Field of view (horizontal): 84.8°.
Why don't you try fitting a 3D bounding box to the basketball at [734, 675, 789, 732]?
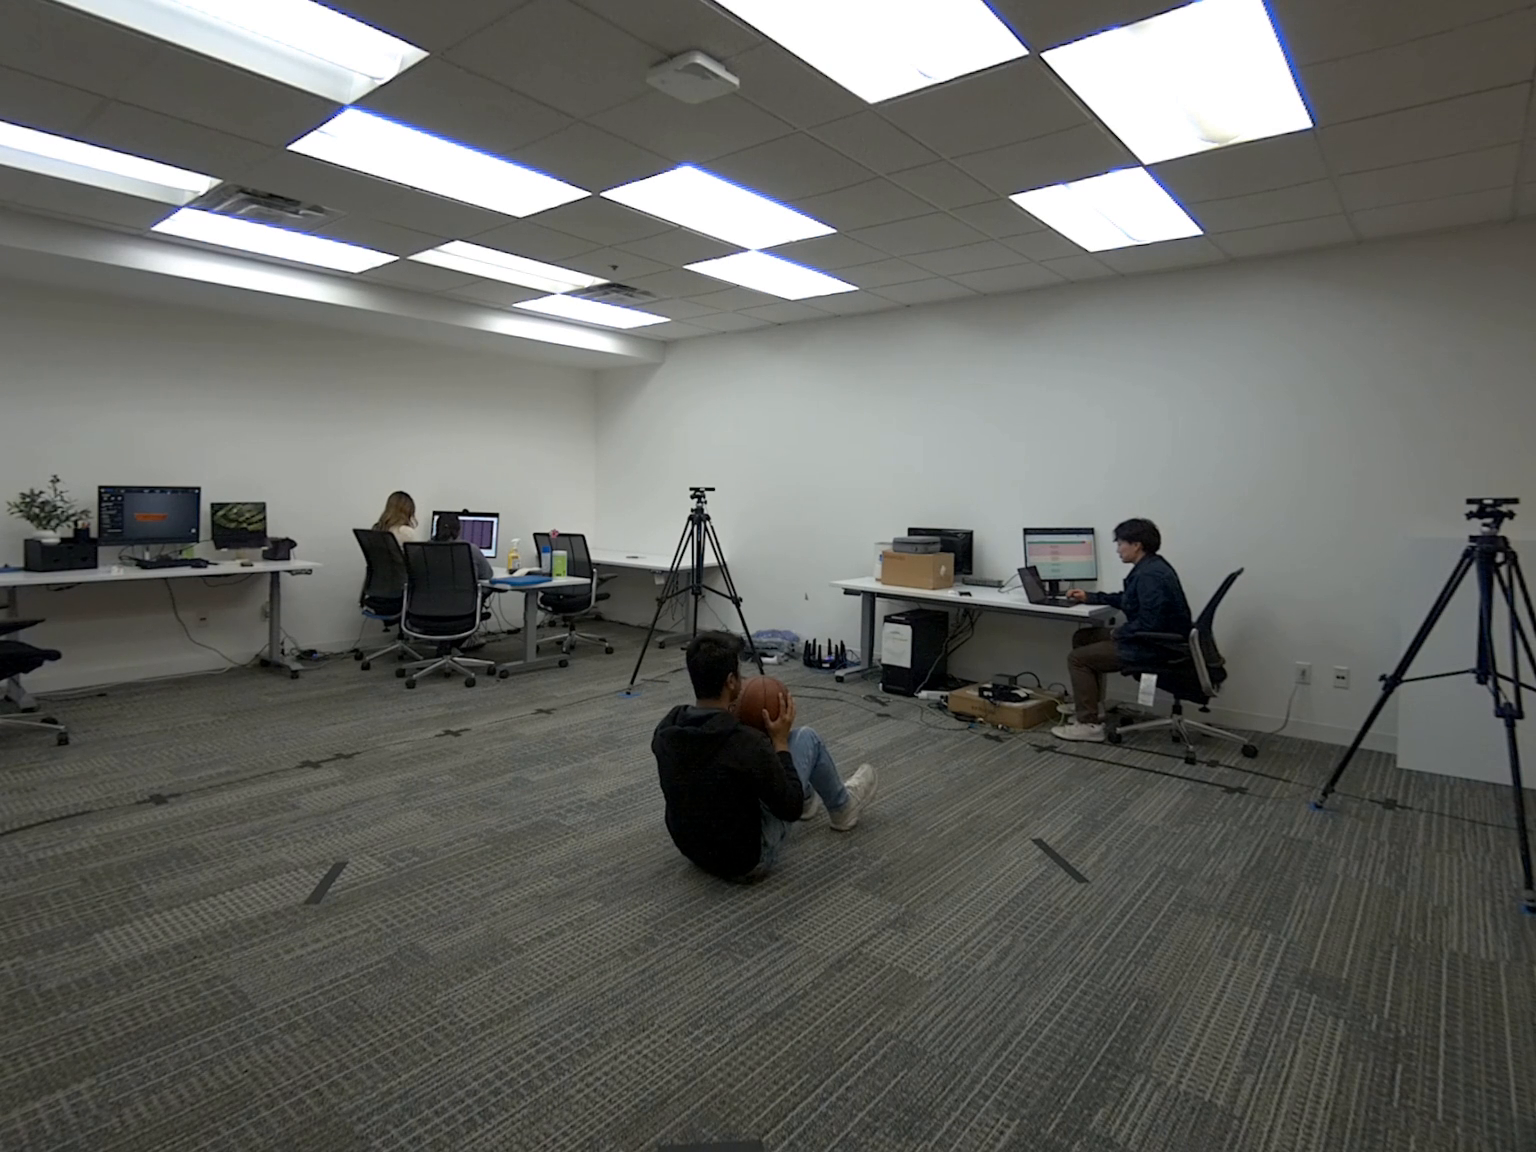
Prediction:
[{"bbox_3d":[-0.040,0.496,3.265,0.235,0.235,0.237,1,4,-2],"label":"basketball"}]
